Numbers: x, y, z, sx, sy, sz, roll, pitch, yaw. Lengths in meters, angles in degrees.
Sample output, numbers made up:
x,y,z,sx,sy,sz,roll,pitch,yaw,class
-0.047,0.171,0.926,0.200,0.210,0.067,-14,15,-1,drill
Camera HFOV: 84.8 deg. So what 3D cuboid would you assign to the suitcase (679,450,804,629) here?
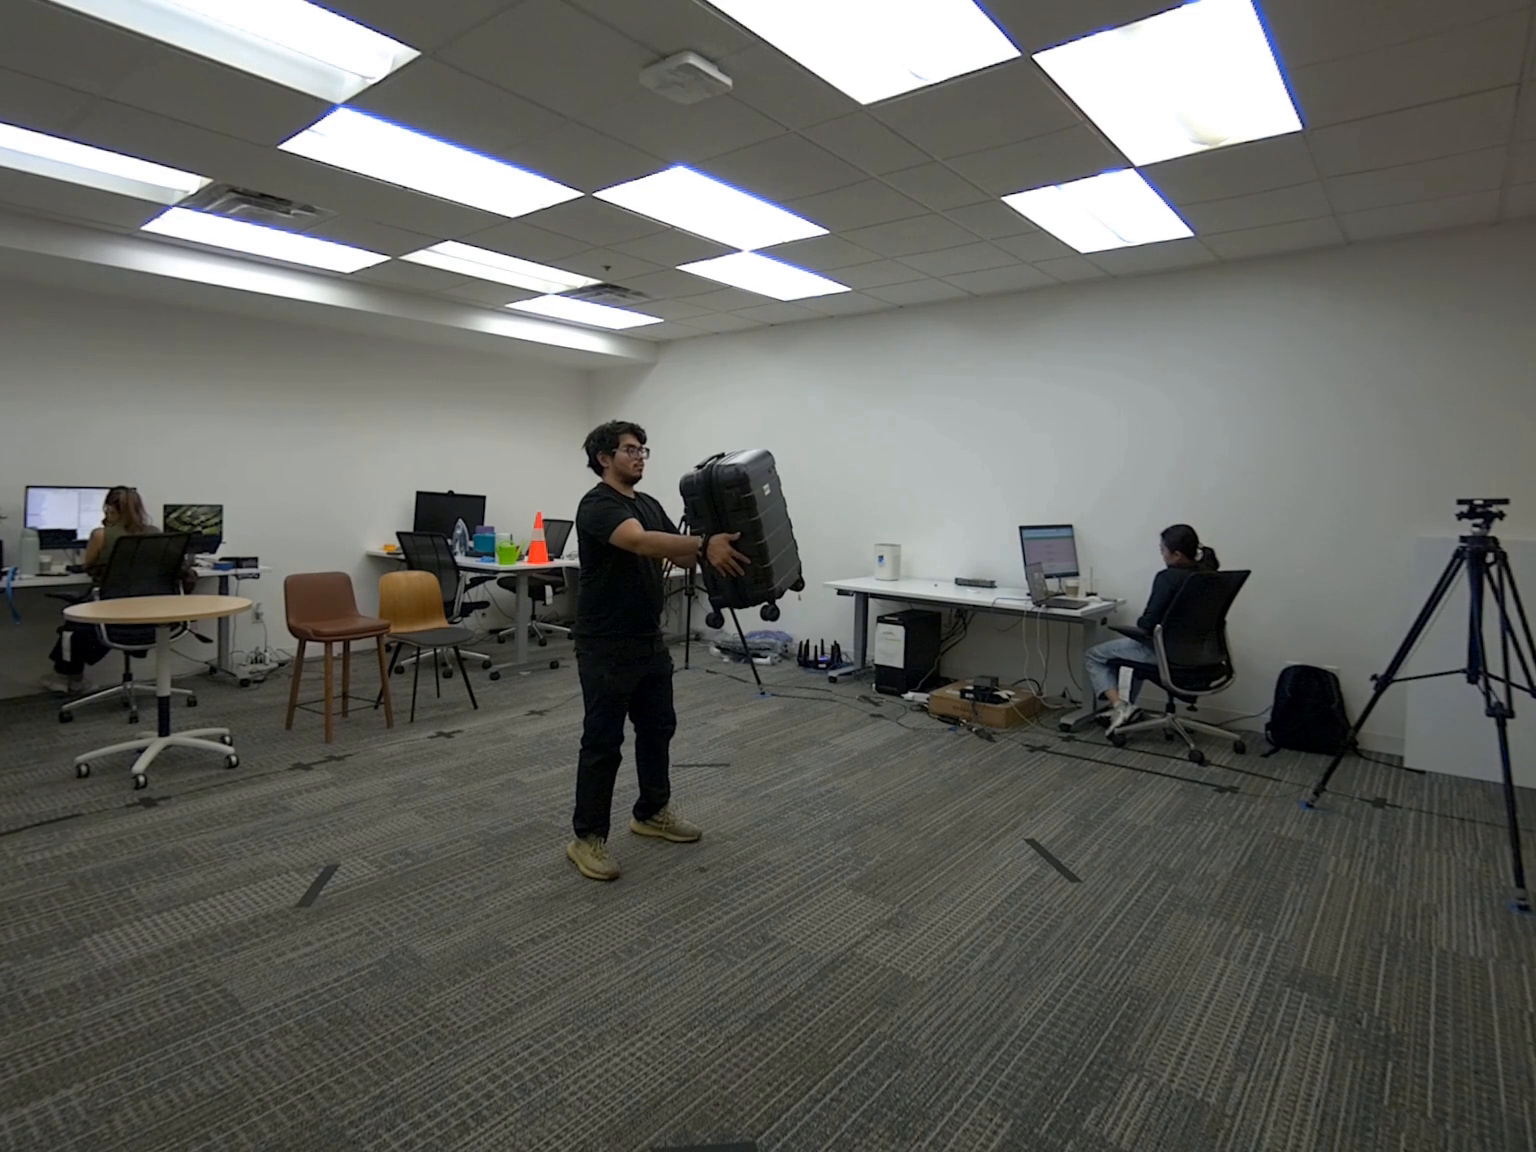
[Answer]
x,y,z,sx,sy,sz,roll,pitch,yaw,class
-0.092,-0.157,2.943,0.253,0.542,0.372,-9,12,25,suitcase
